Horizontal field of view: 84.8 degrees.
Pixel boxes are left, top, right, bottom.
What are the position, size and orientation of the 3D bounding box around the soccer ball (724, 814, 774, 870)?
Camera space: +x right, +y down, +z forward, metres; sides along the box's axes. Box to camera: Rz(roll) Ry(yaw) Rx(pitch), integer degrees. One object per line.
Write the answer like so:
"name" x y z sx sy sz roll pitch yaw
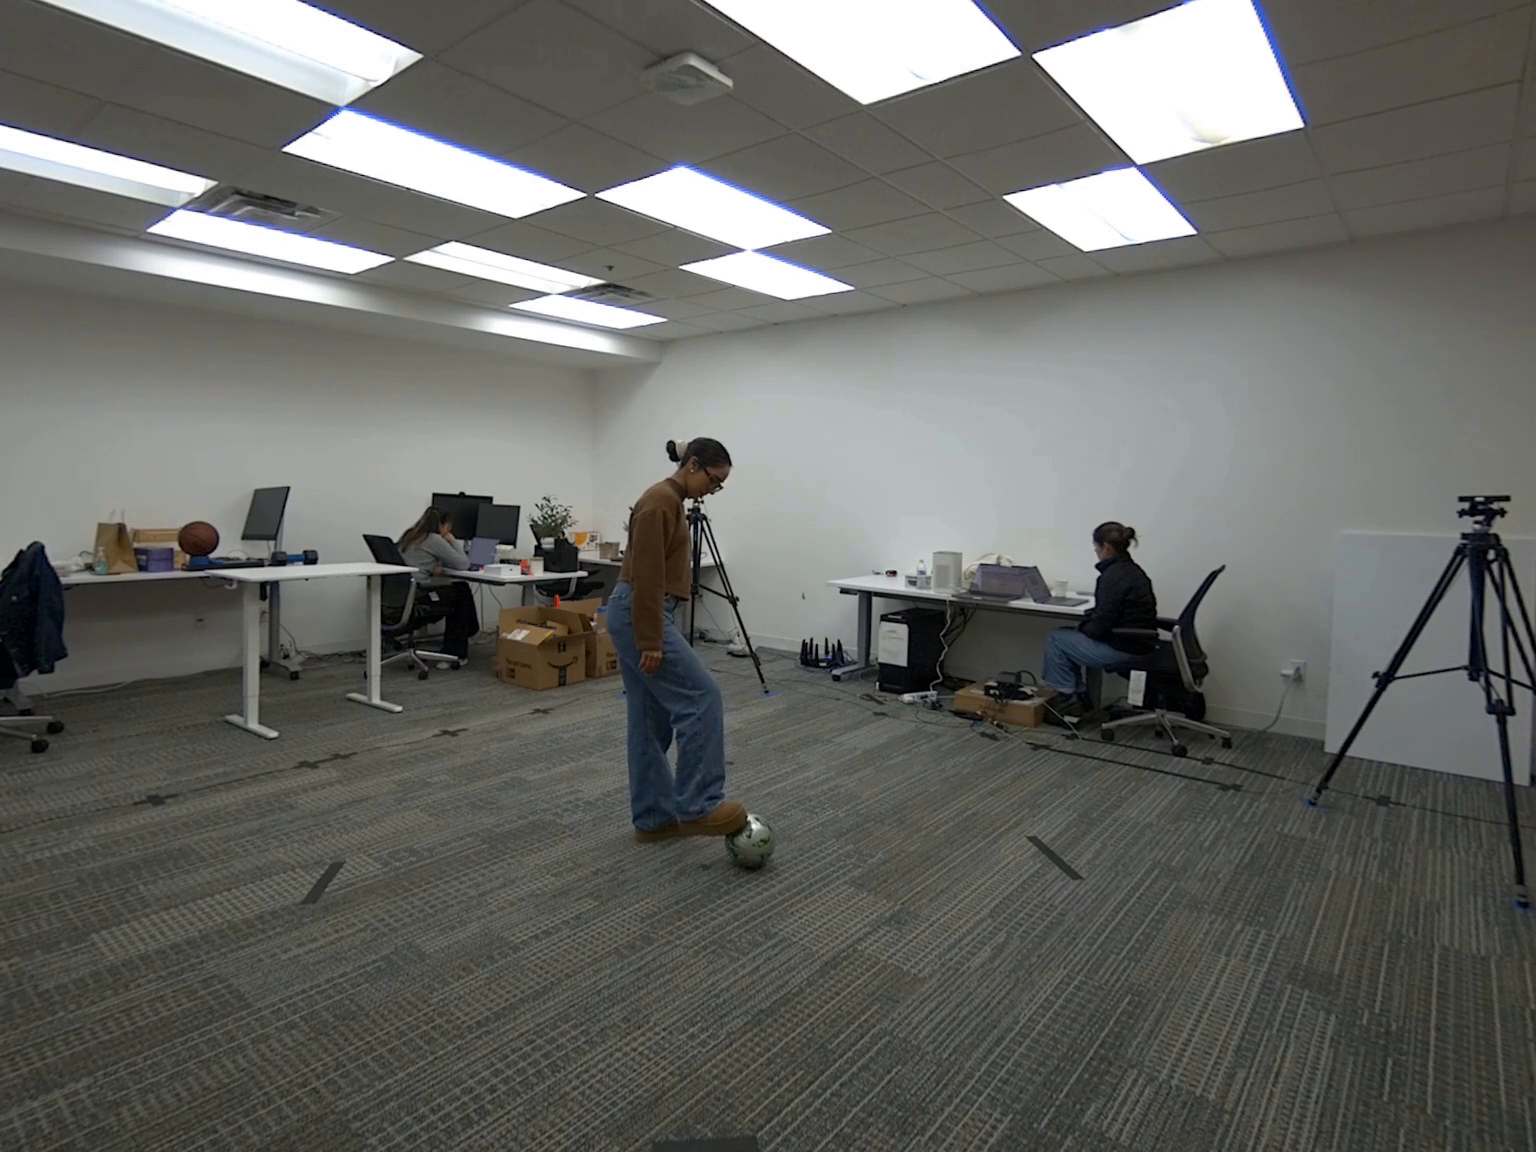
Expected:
"soccer ball" -0.081 0.979 3.137 0.187 0.187 0.188 1 4 -2
